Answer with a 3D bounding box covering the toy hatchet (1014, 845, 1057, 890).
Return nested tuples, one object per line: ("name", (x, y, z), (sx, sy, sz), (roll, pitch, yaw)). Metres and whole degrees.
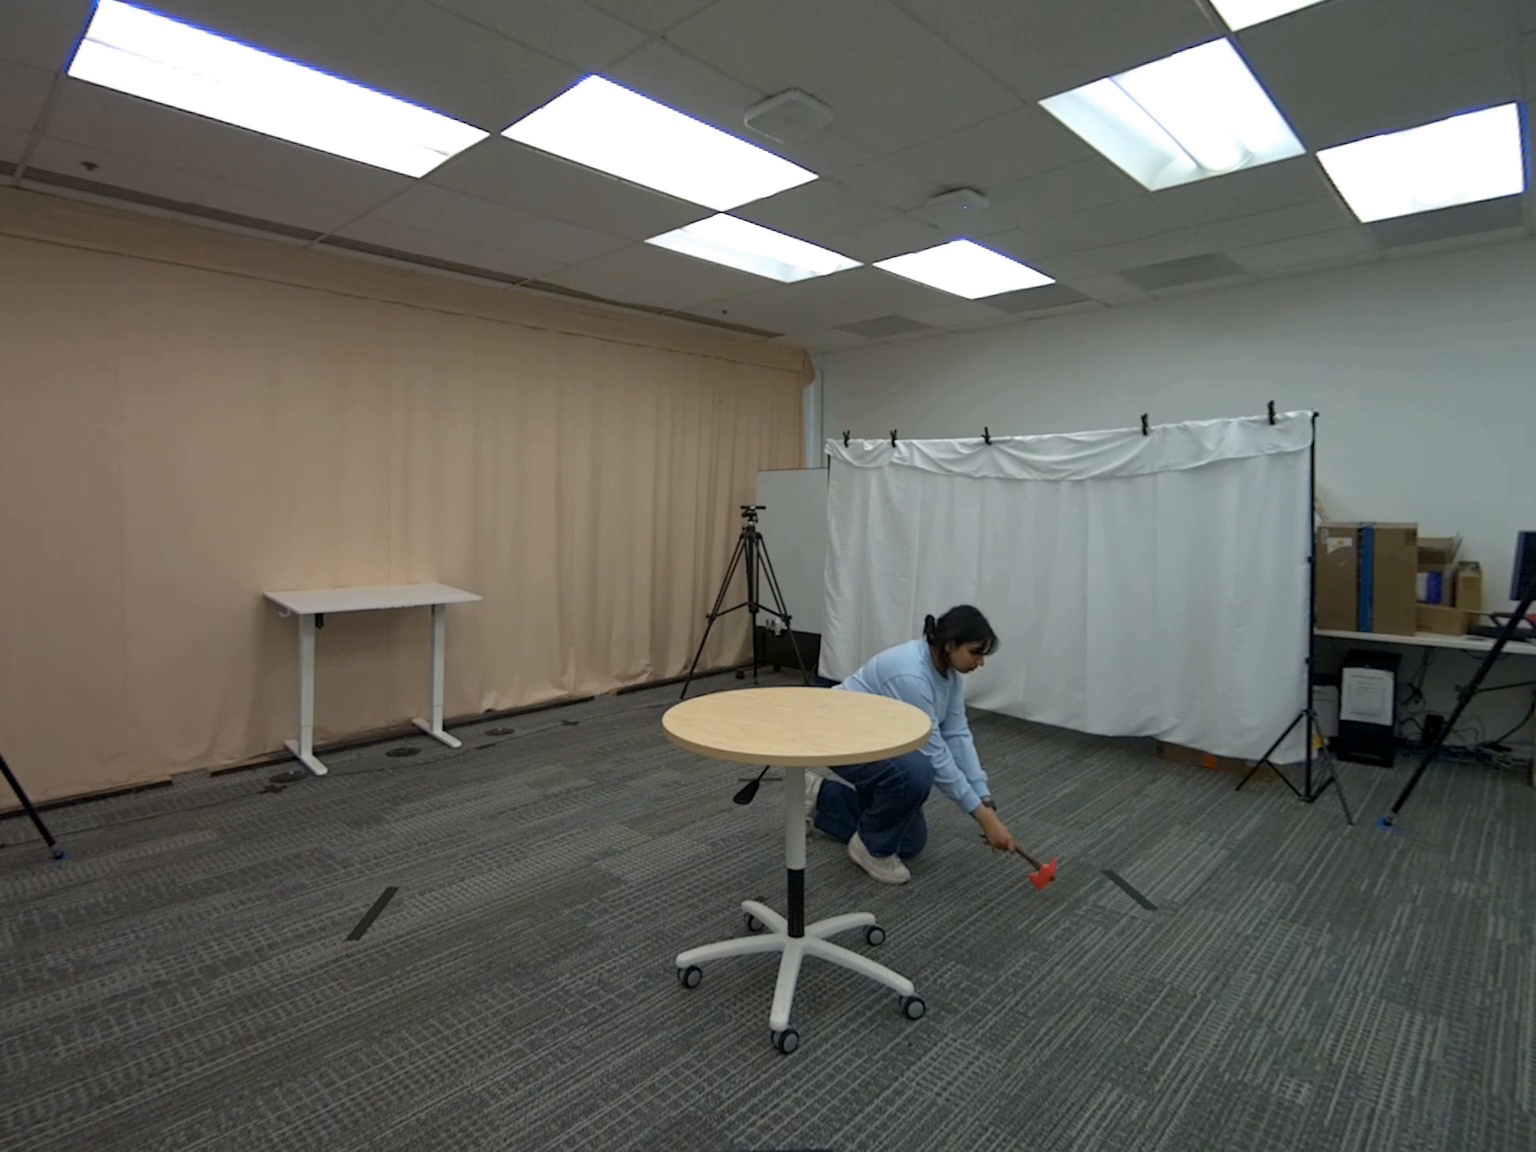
("toy hatchet", (0.918, 1.002, 2.971), (0.029, 0.131, 0.279), (0, 5, -40))
